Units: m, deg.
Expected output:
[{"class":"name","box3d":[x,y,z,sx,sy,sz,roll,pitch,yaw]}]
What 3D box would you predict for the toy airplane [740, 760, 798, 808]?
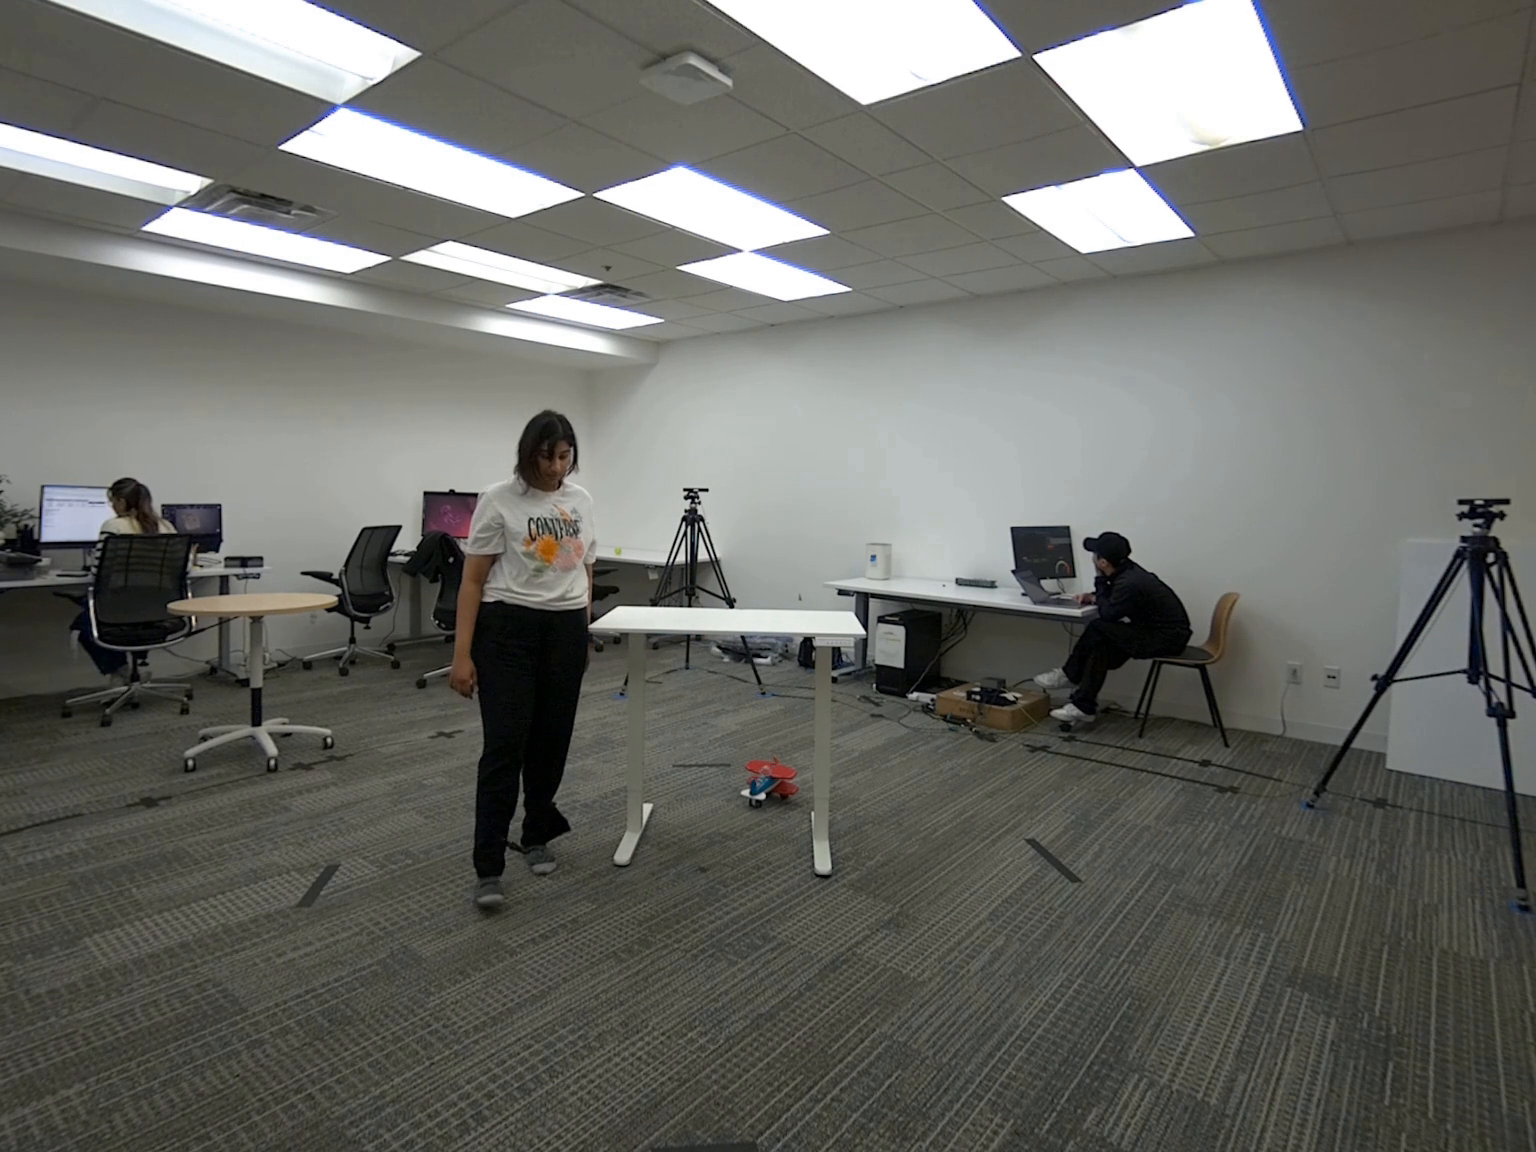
[{"class":"toy airplane","box3d":[0.001,0.933,3.806,0.253,0.156,0.257,2,3,7]}]
